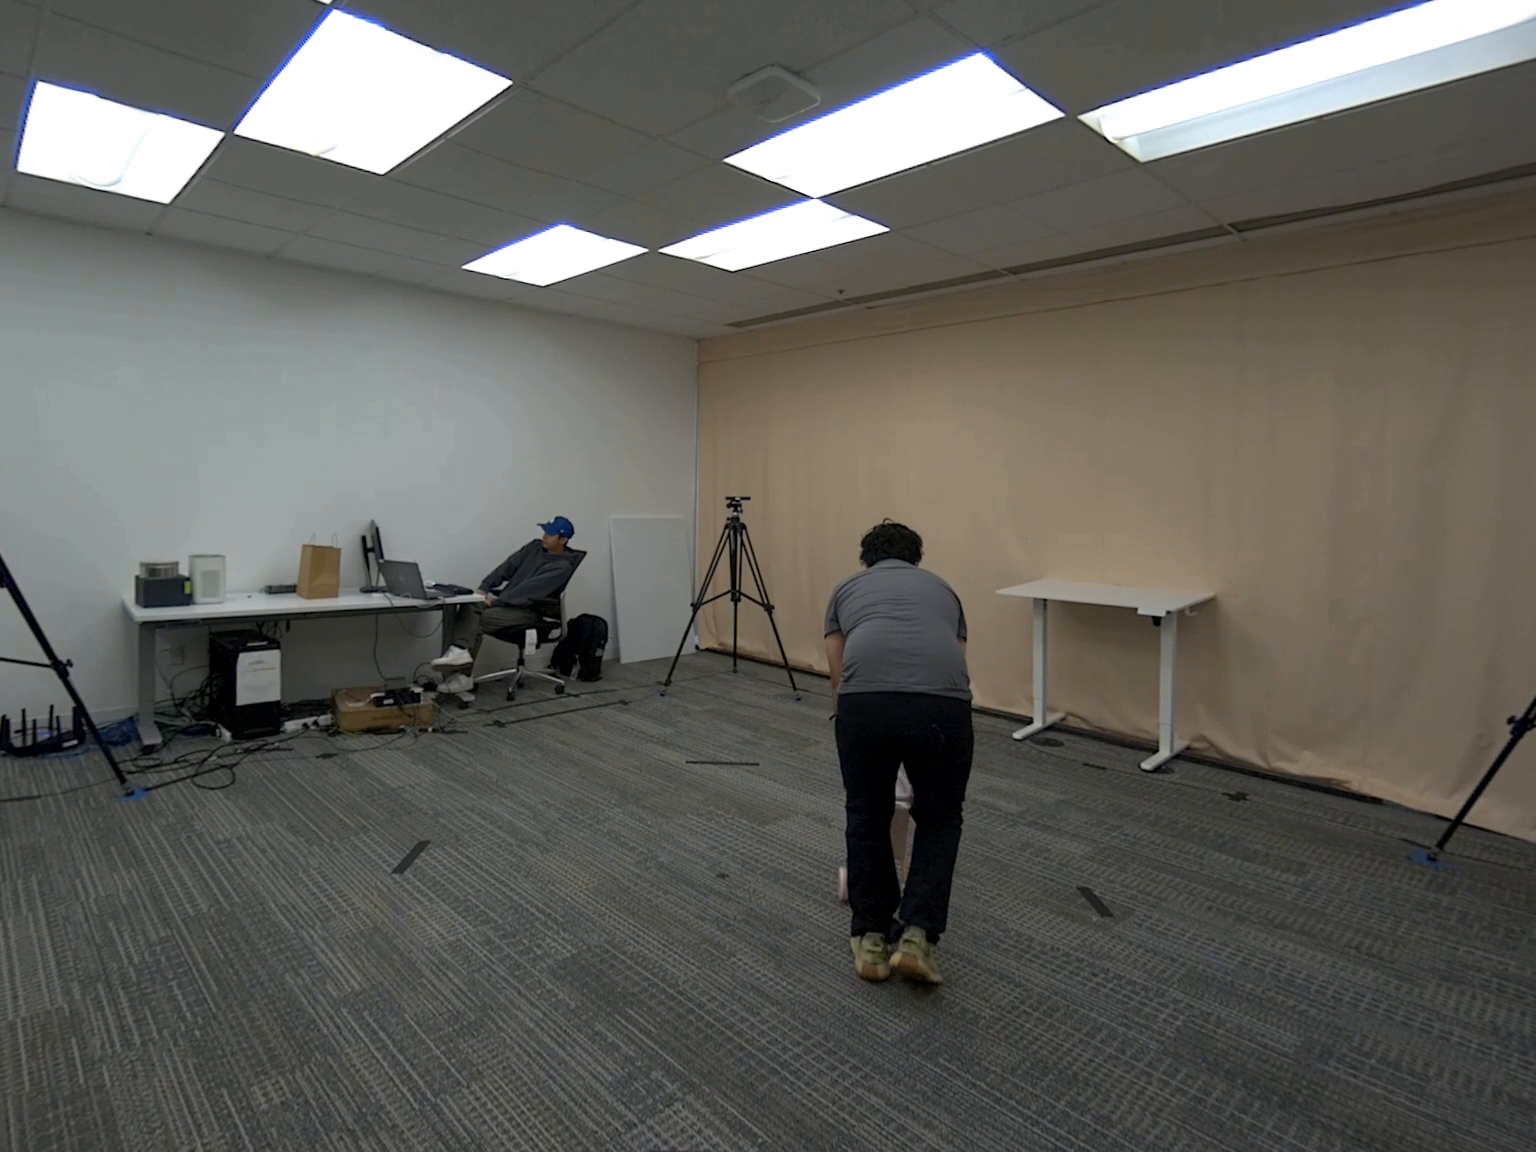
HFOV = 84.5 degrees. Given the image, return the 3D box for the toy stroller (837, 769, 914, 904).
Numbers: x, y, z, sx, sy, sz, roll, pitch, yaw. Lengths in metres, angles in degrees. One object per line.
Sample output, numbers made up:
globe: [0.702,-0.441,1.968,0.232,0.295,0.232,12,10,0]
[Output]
toy stroller: [0.397,0.909,2.975,0.283,0.528,0.343,3,19,7]
